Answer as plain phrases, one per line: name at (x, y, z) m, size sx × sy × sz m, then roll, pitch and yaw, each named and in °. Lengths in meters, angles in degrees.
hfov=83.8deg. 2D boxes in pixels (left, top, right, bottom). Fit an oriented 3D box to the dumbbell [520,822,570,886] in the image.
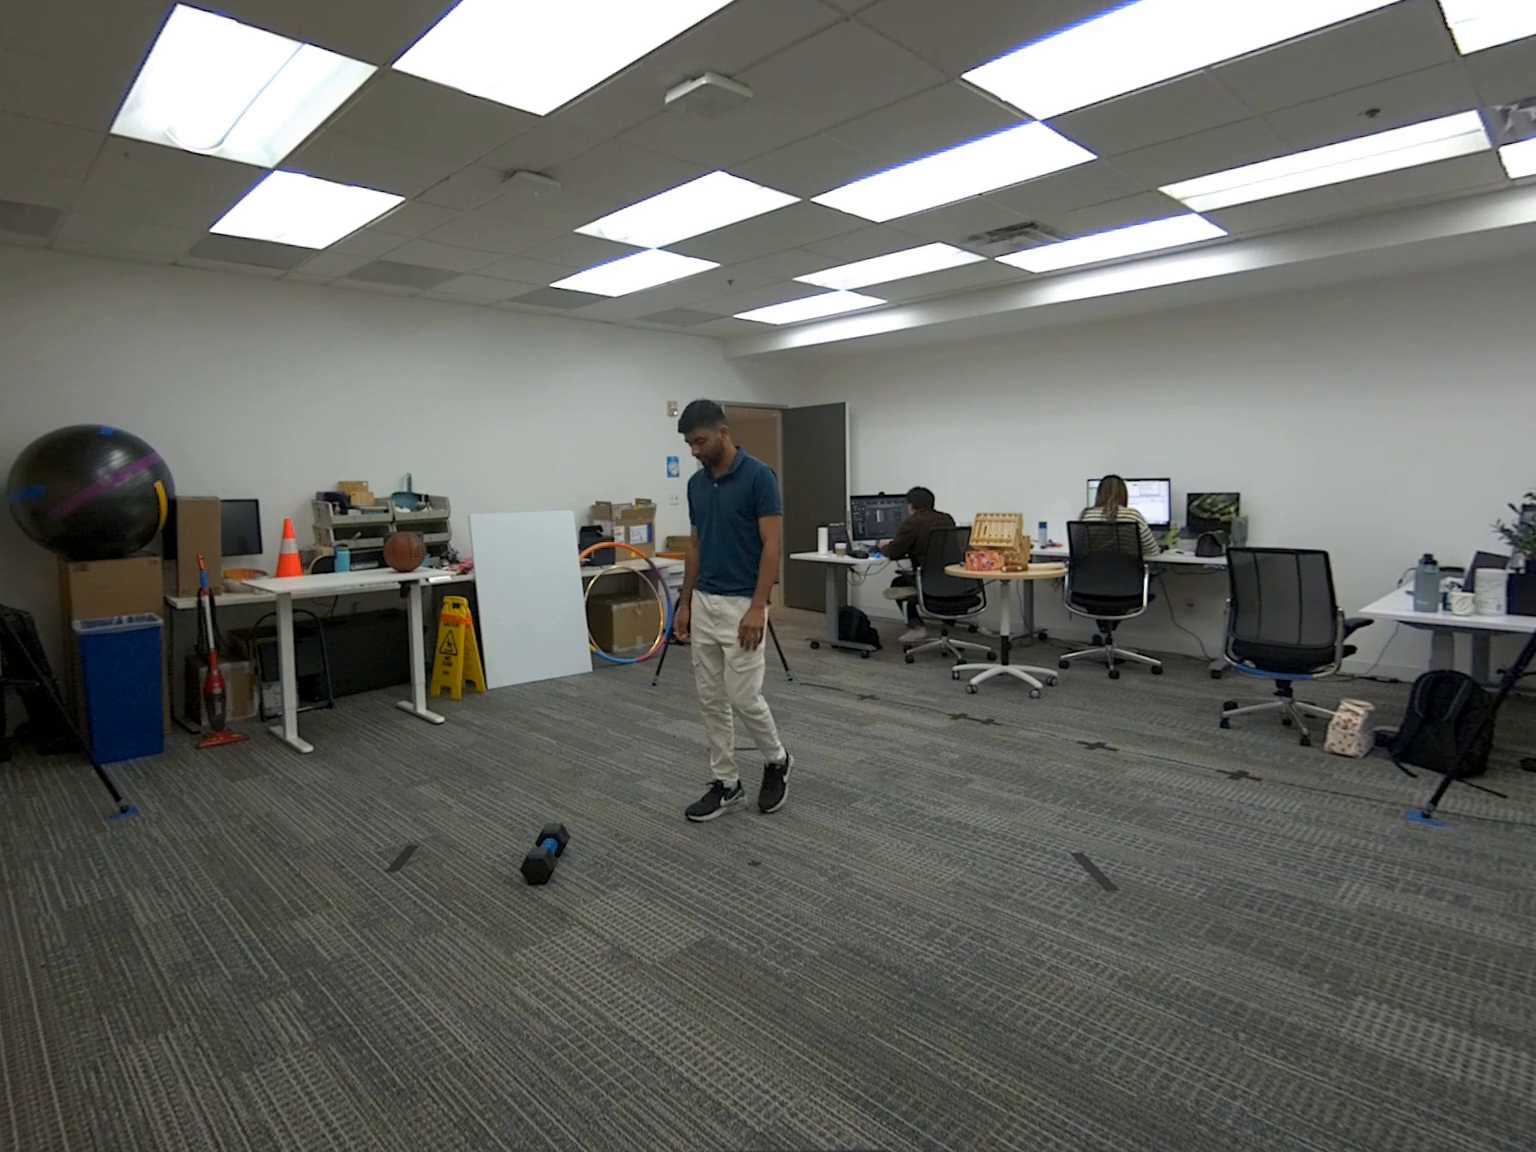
dumbbell at (-0.804, 1.007, 3.104) m, size 0.109 × 0.122 × 0.295 m, roll -30°, pitch 6°, yaw 2°
